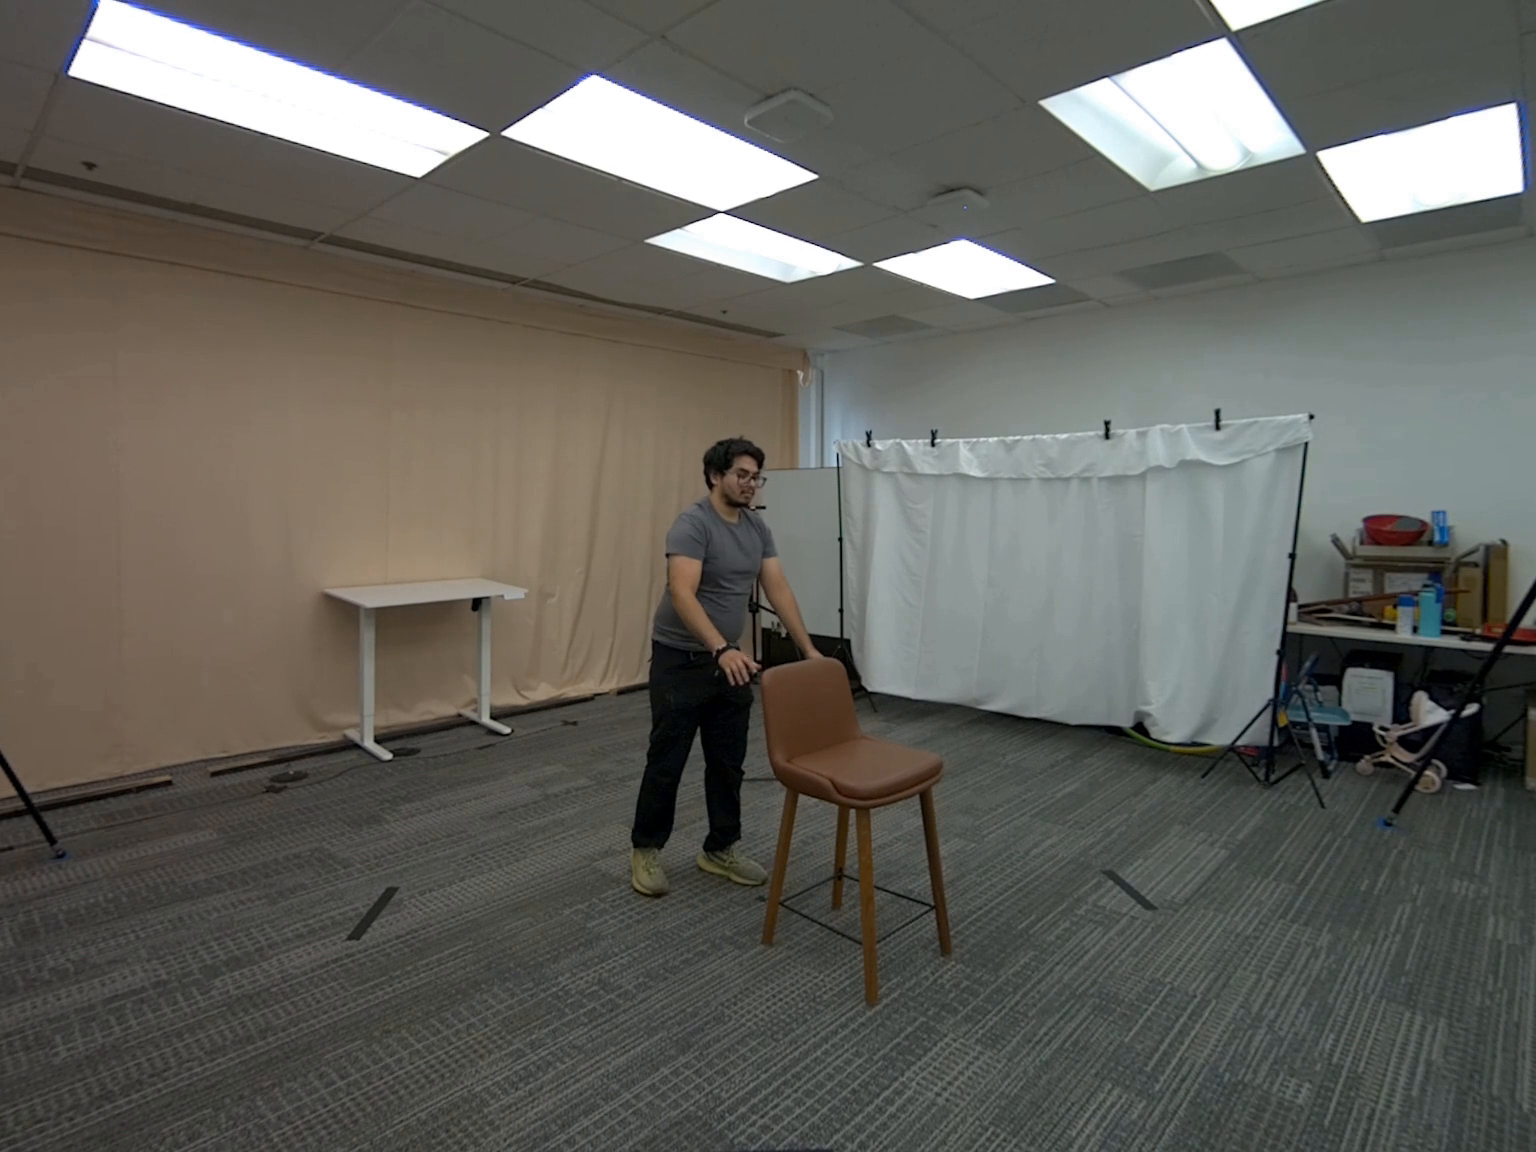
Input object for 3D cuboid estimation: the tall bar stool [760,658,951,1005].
[{"bbox_3d":[0.268,0.737,2.624,0.442,0.889,0.483,-4,3,-44],"label":"tall bar stool"}]
